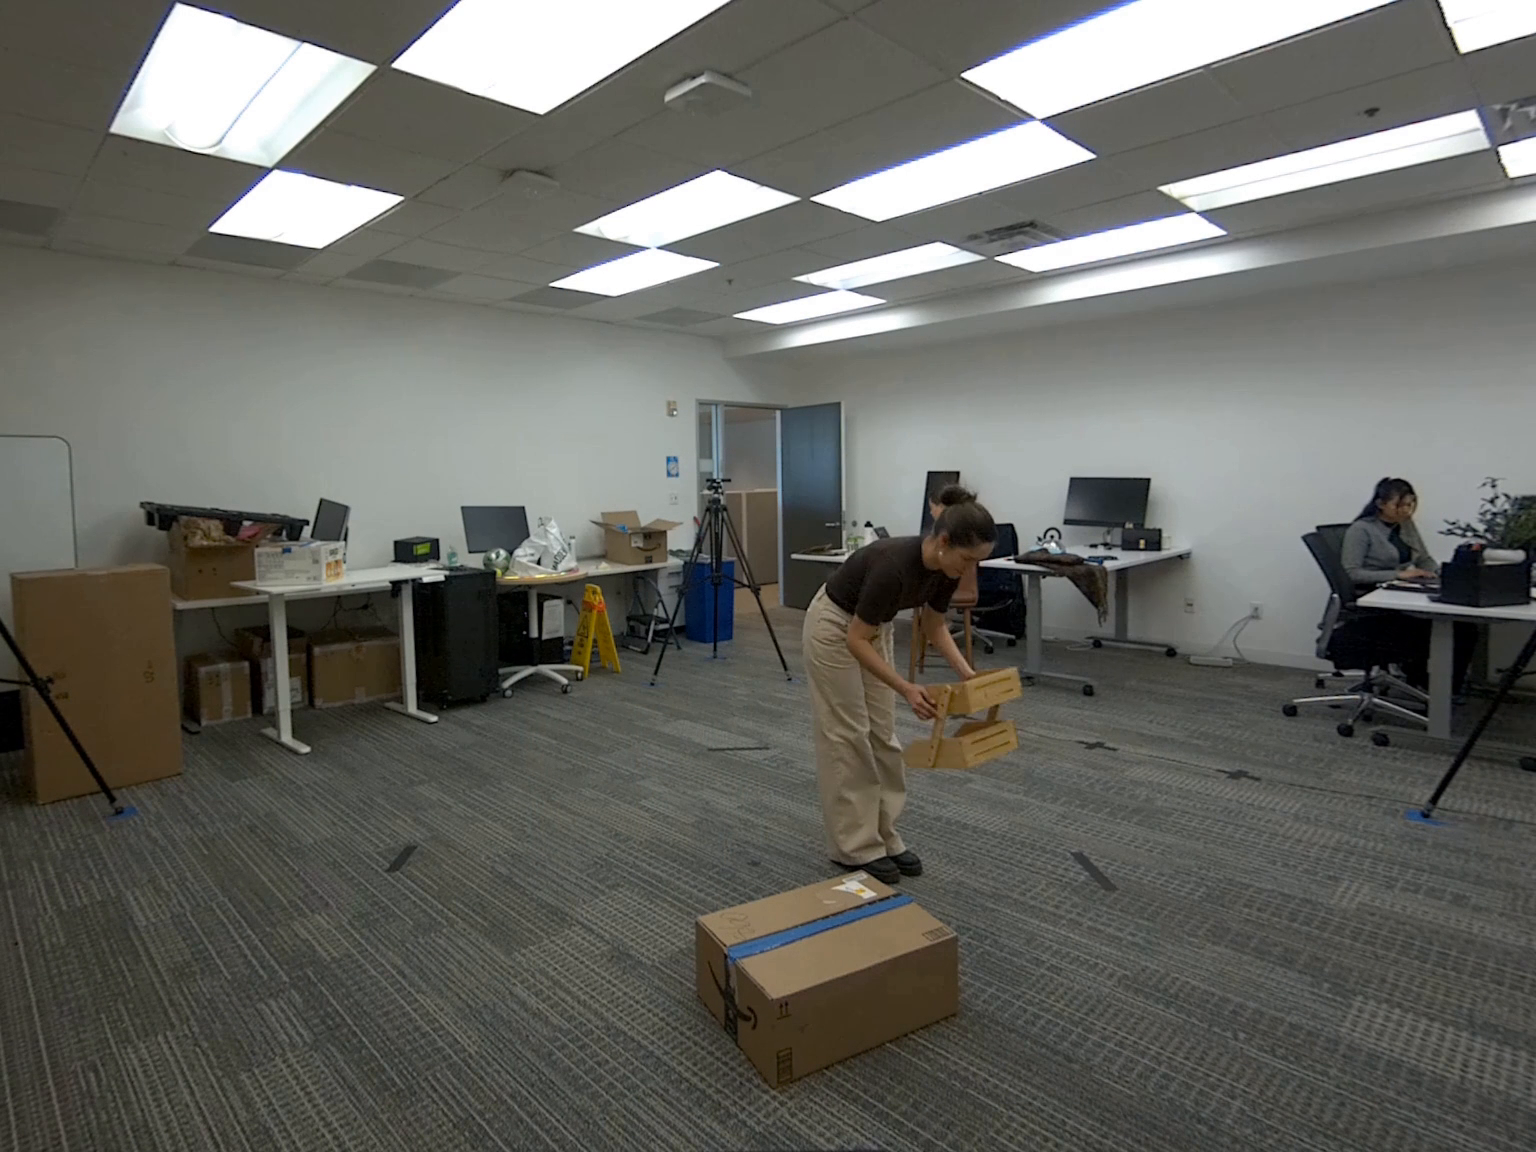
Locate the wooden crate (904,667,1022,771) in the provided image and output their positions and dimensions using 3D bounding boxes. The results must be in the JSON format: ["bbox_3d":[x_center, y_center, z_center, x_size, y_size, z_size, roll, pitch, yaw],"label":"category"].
[{"bbox_3d":[0.629,0.458,2.796,0.316,0.275,0.308,-6,-5,-42],"label":"wooden crate"}]
